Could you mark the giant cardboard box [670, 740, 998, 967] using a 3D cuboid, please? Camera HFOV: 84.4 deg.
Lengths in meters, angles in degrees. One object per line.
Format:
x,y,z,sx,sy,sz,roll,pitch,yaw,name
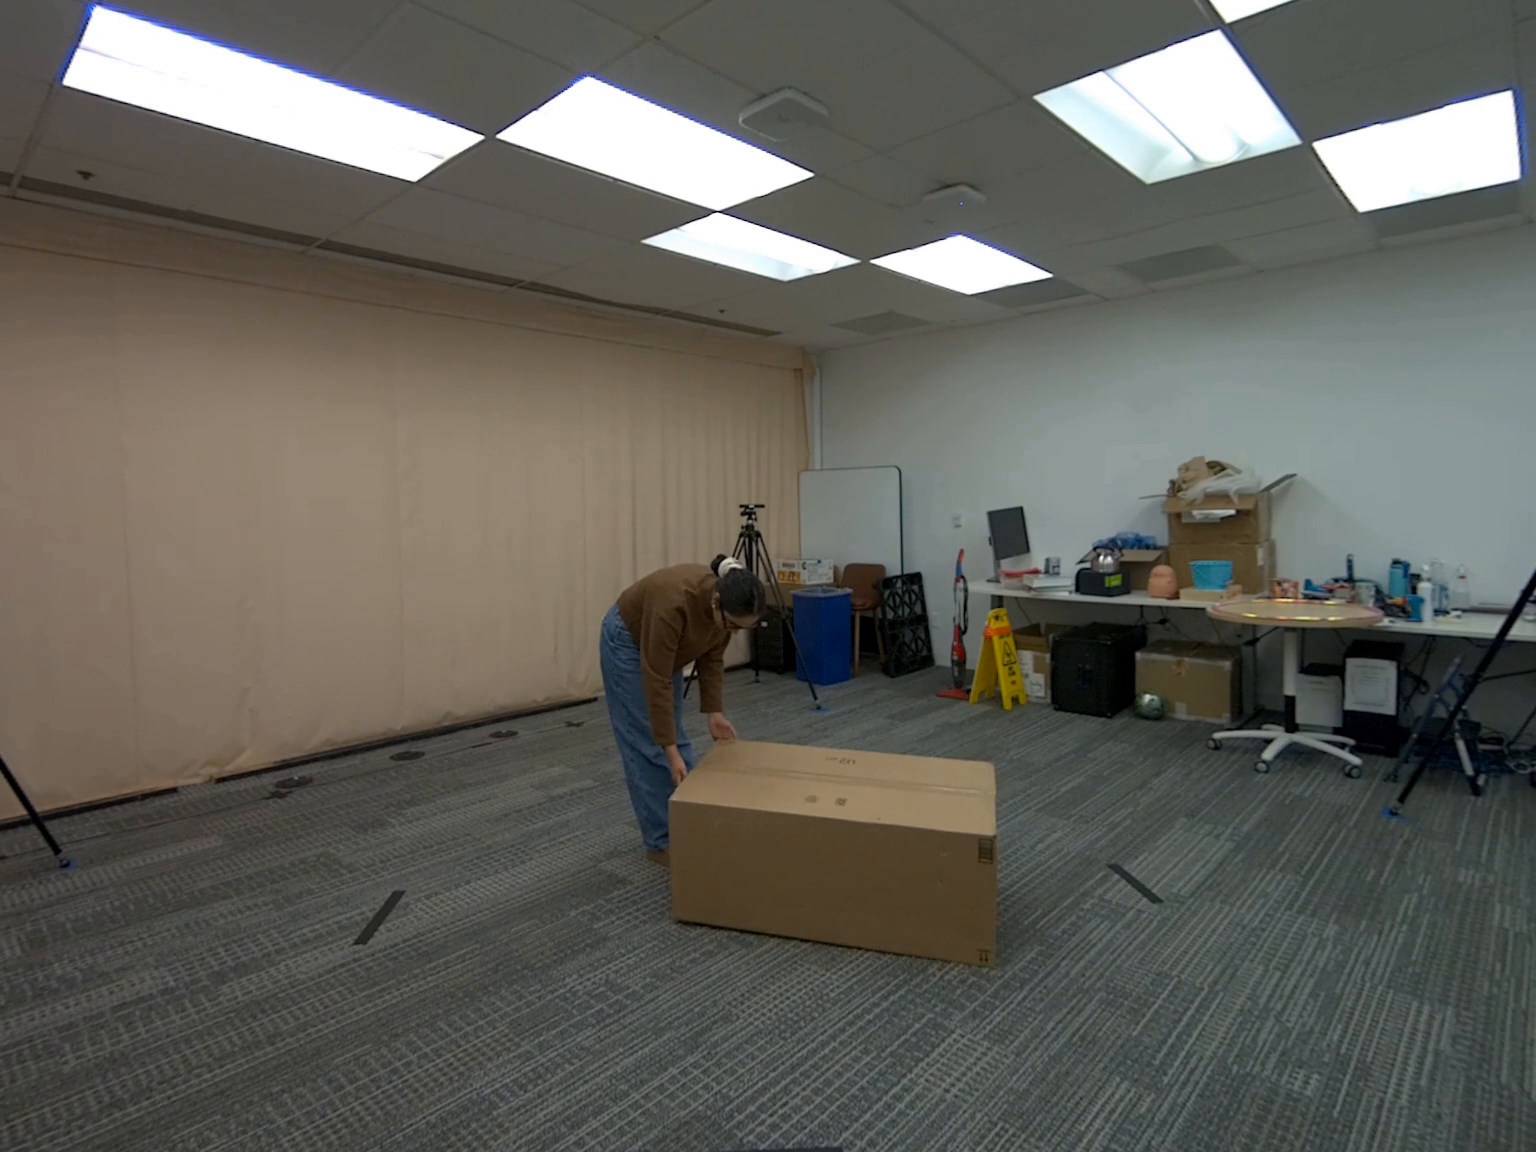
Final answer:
0.249,0.903,2.890,1.046,0.445,0.576,2,8,16,giant cardboard box
